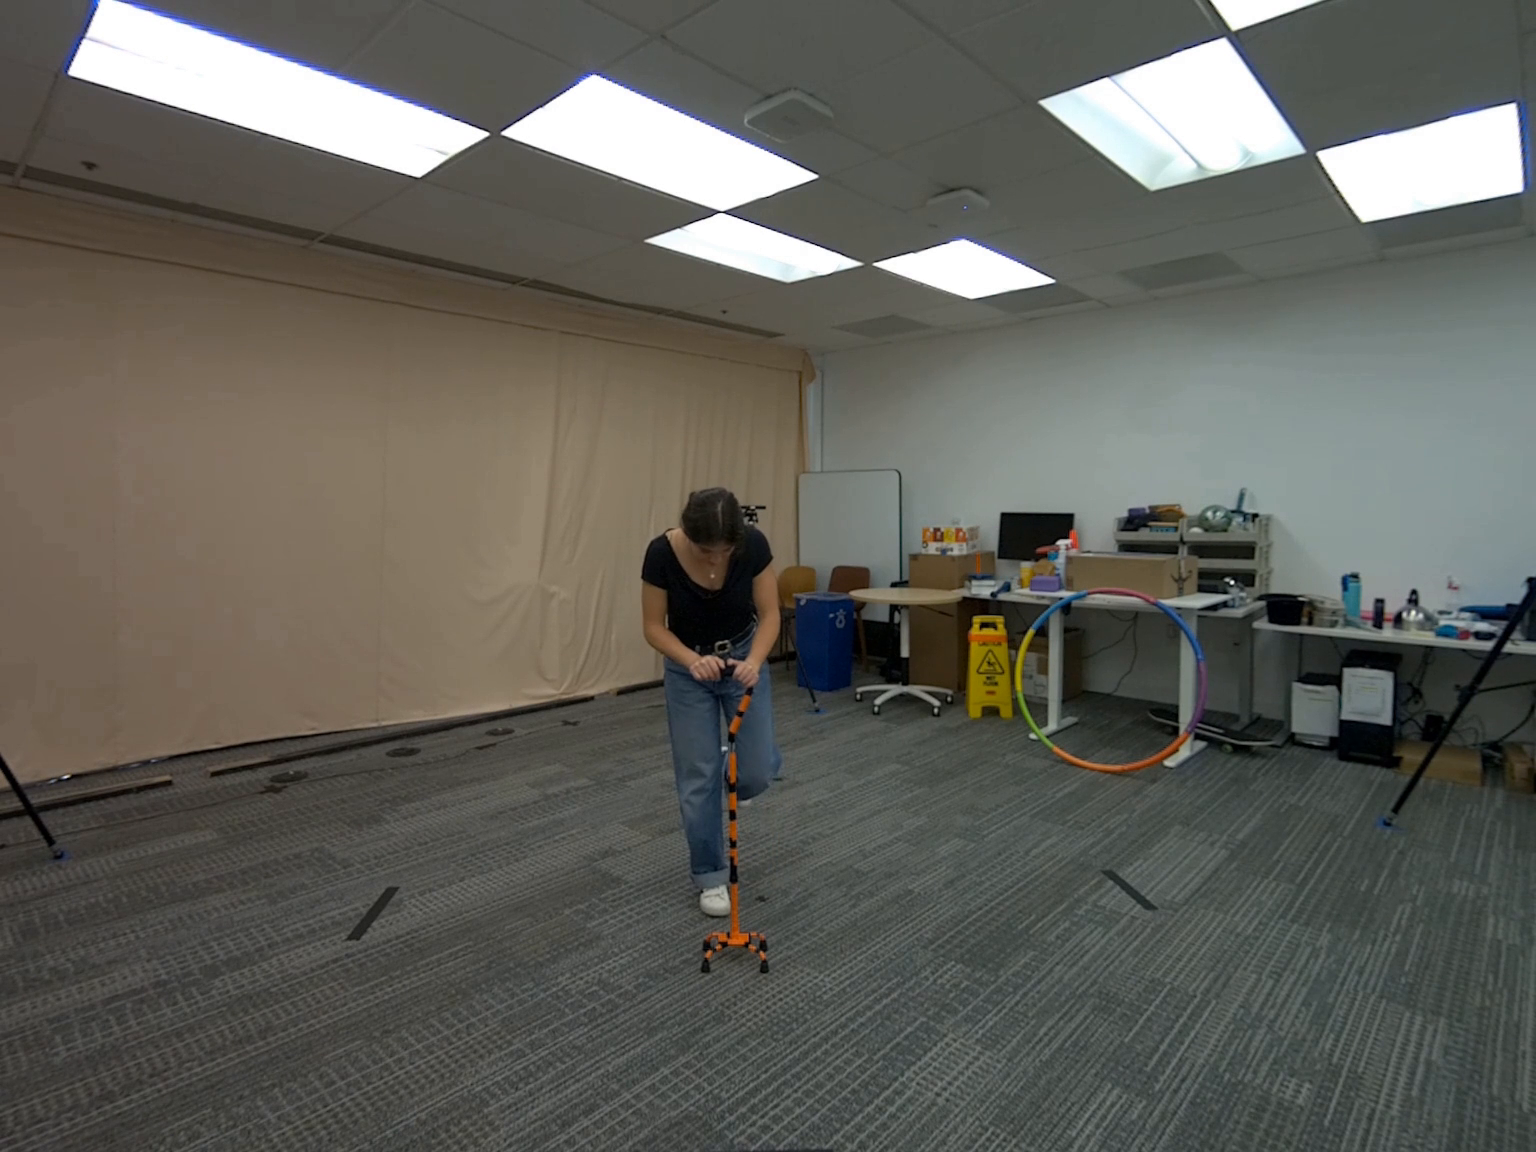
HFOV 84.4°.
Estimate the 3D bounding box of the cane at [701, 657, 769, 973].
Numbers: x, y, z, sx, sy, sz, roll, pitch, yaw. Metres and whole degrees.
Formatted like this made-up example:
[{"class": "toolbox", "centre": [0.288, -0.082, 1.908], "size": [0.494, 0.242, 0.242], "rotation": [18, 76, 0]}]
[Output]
[{"class": "cane", "centre": [-0.102, 0.720, 2.557], "size": [0.206, 0.906, 0.152], "rotation": [0, 3, 0]}]
